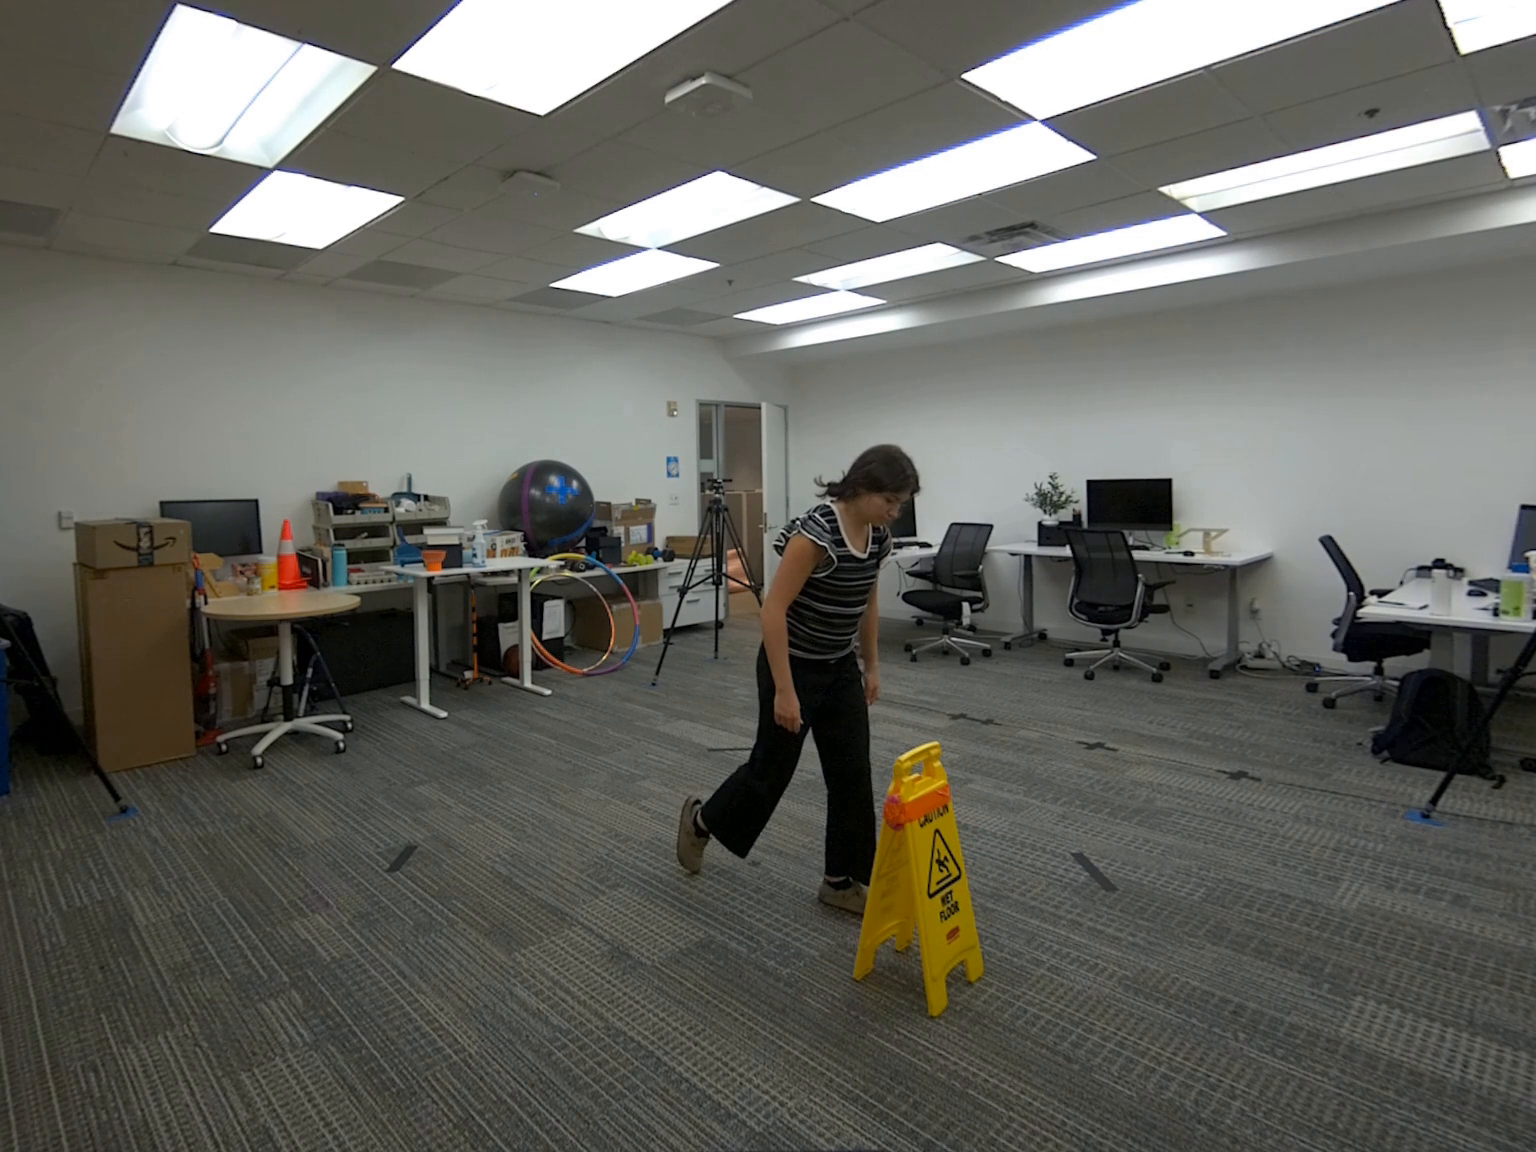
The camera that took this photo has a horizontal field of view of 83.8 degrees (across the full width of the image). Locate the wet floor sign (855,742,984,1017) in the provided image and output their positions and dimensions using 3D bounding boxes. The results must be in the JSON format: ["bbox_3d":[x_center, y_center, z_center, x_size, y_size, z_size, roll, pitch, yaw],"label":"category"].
[{"bbox_3d":[0.422,0.799,2.364,0.299,0.643,0.275,4,7,43],"label":"wet floor sign"}]
